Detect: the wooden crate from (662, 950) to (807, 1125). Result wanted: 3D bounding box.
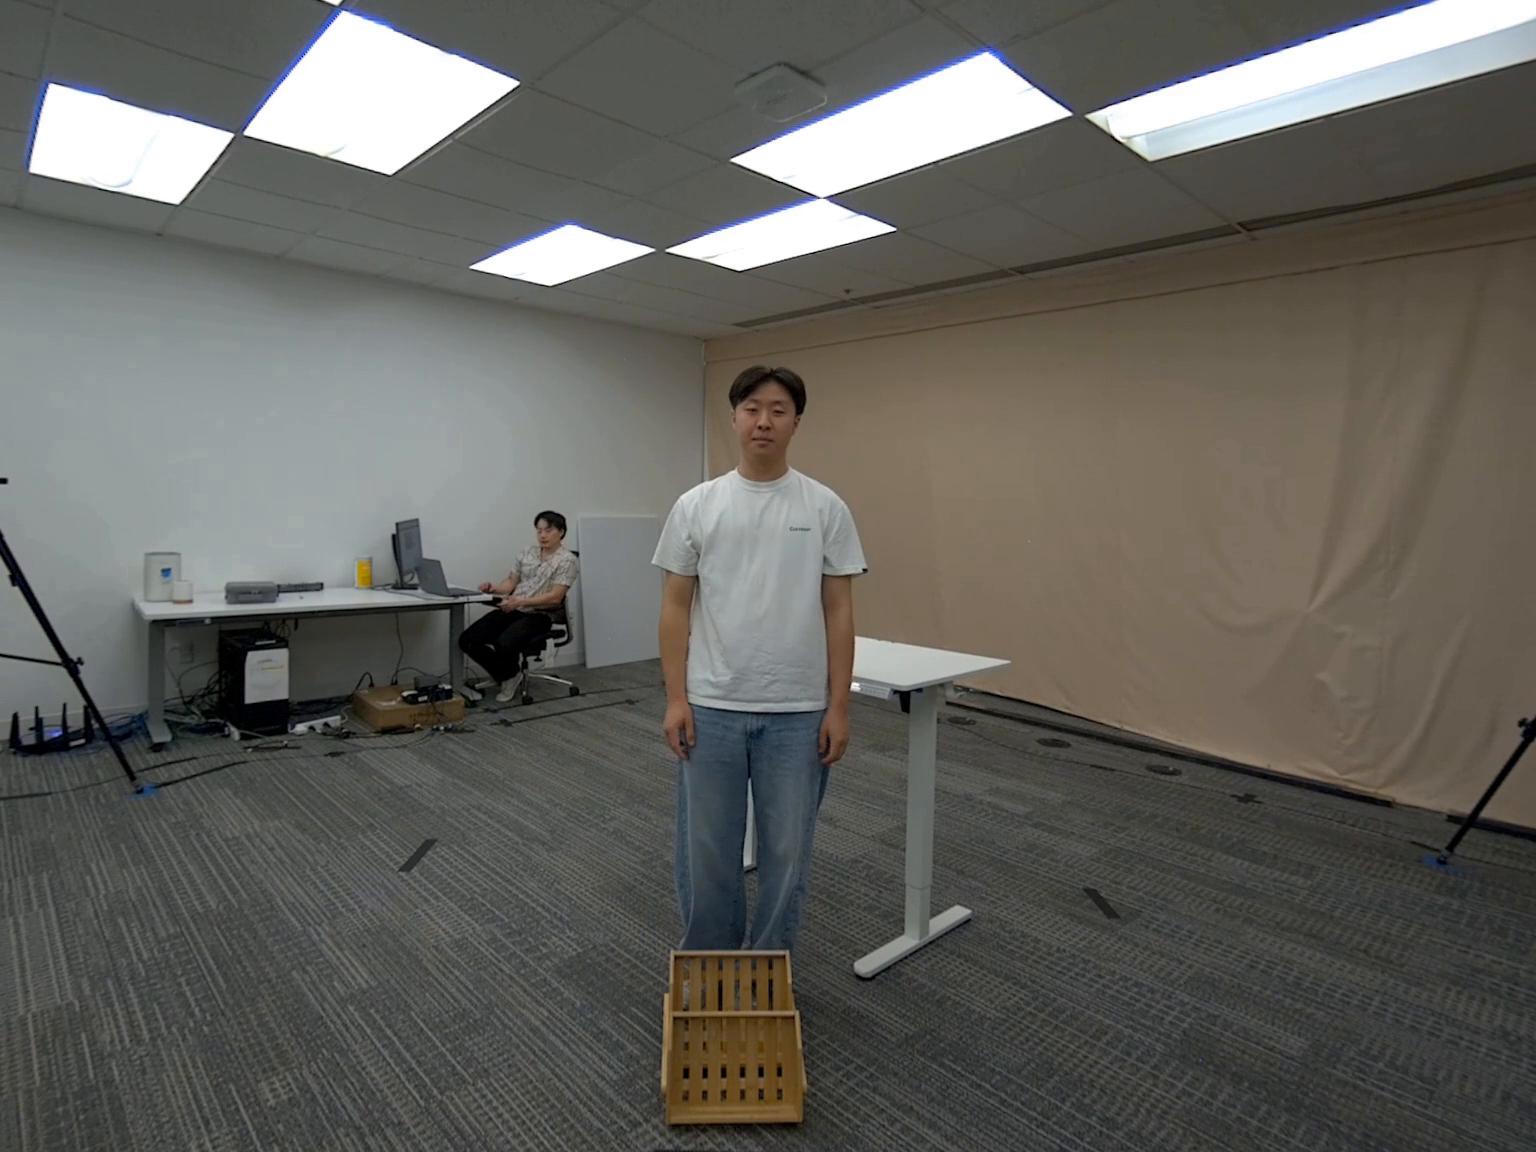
[{"bbox_3d":[-0.097,1.085,1.989,0.323,0.305,0.271,1,-13,-4],"label":"wooden crate"}]
